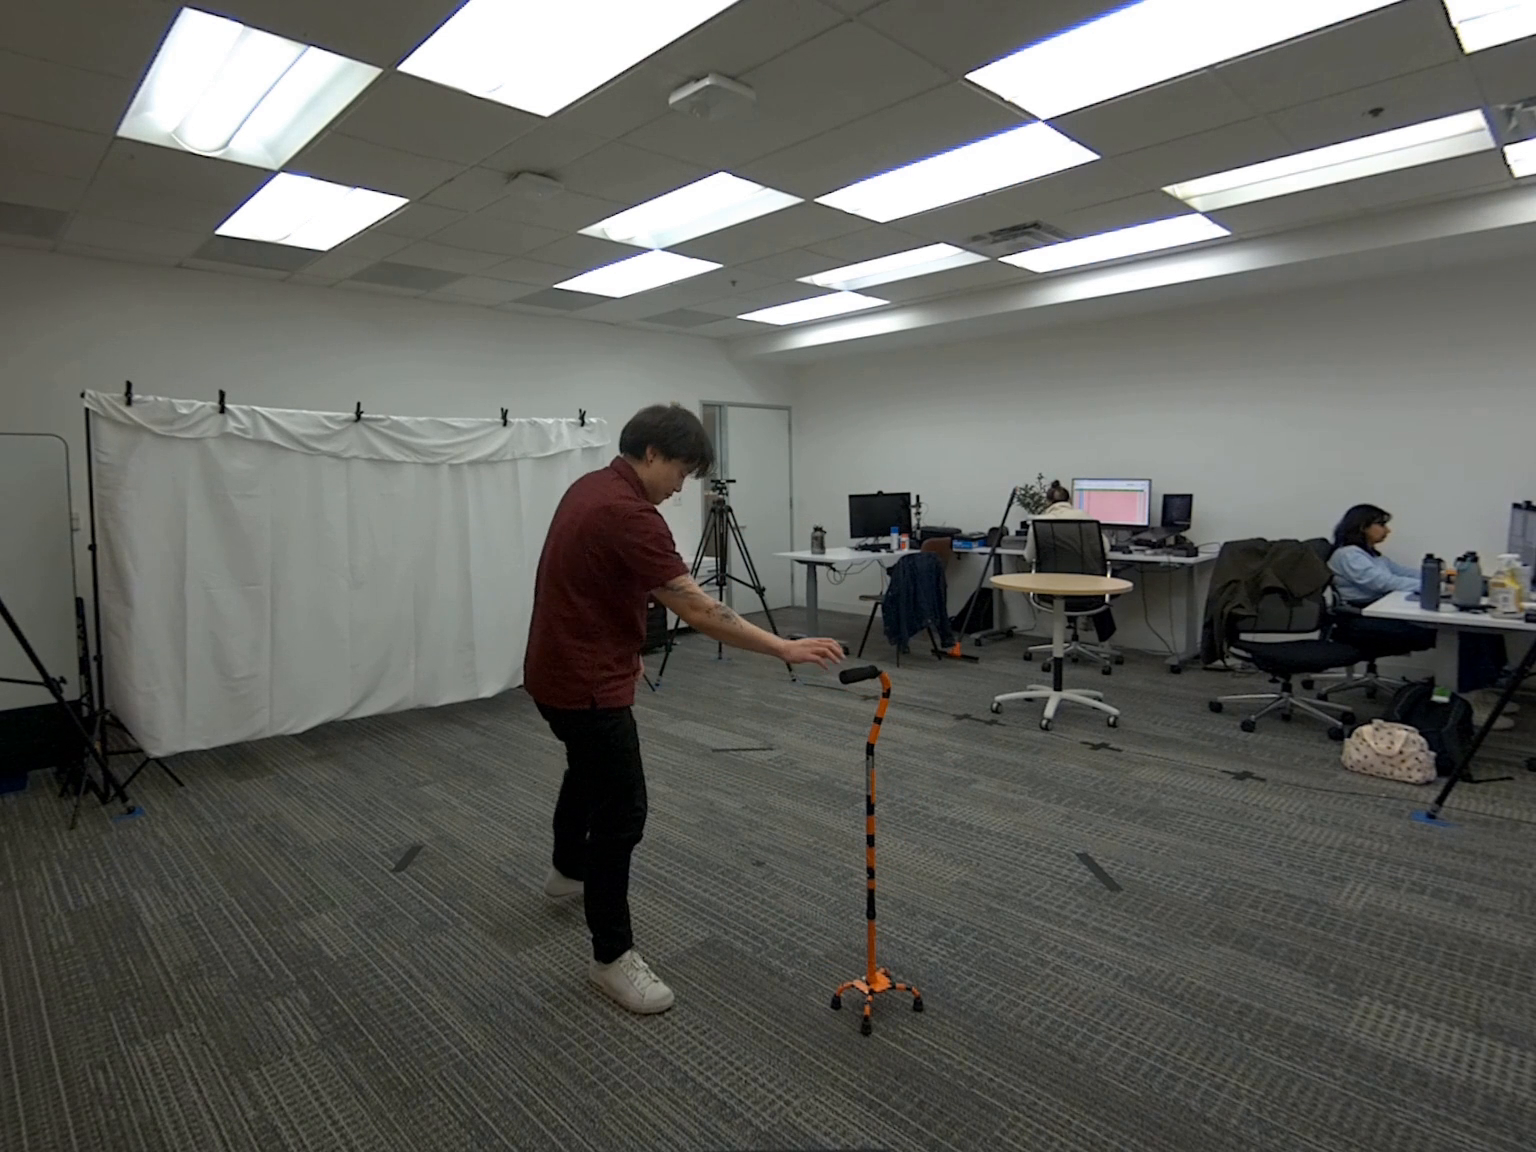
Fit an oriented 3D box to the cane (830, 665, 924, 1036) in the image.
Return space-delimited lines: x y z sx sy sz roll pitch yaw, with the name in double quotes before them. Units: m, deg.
"cane" 0.284 0.692 2.223 0.202 0.904 0.156 -3 4 -30
